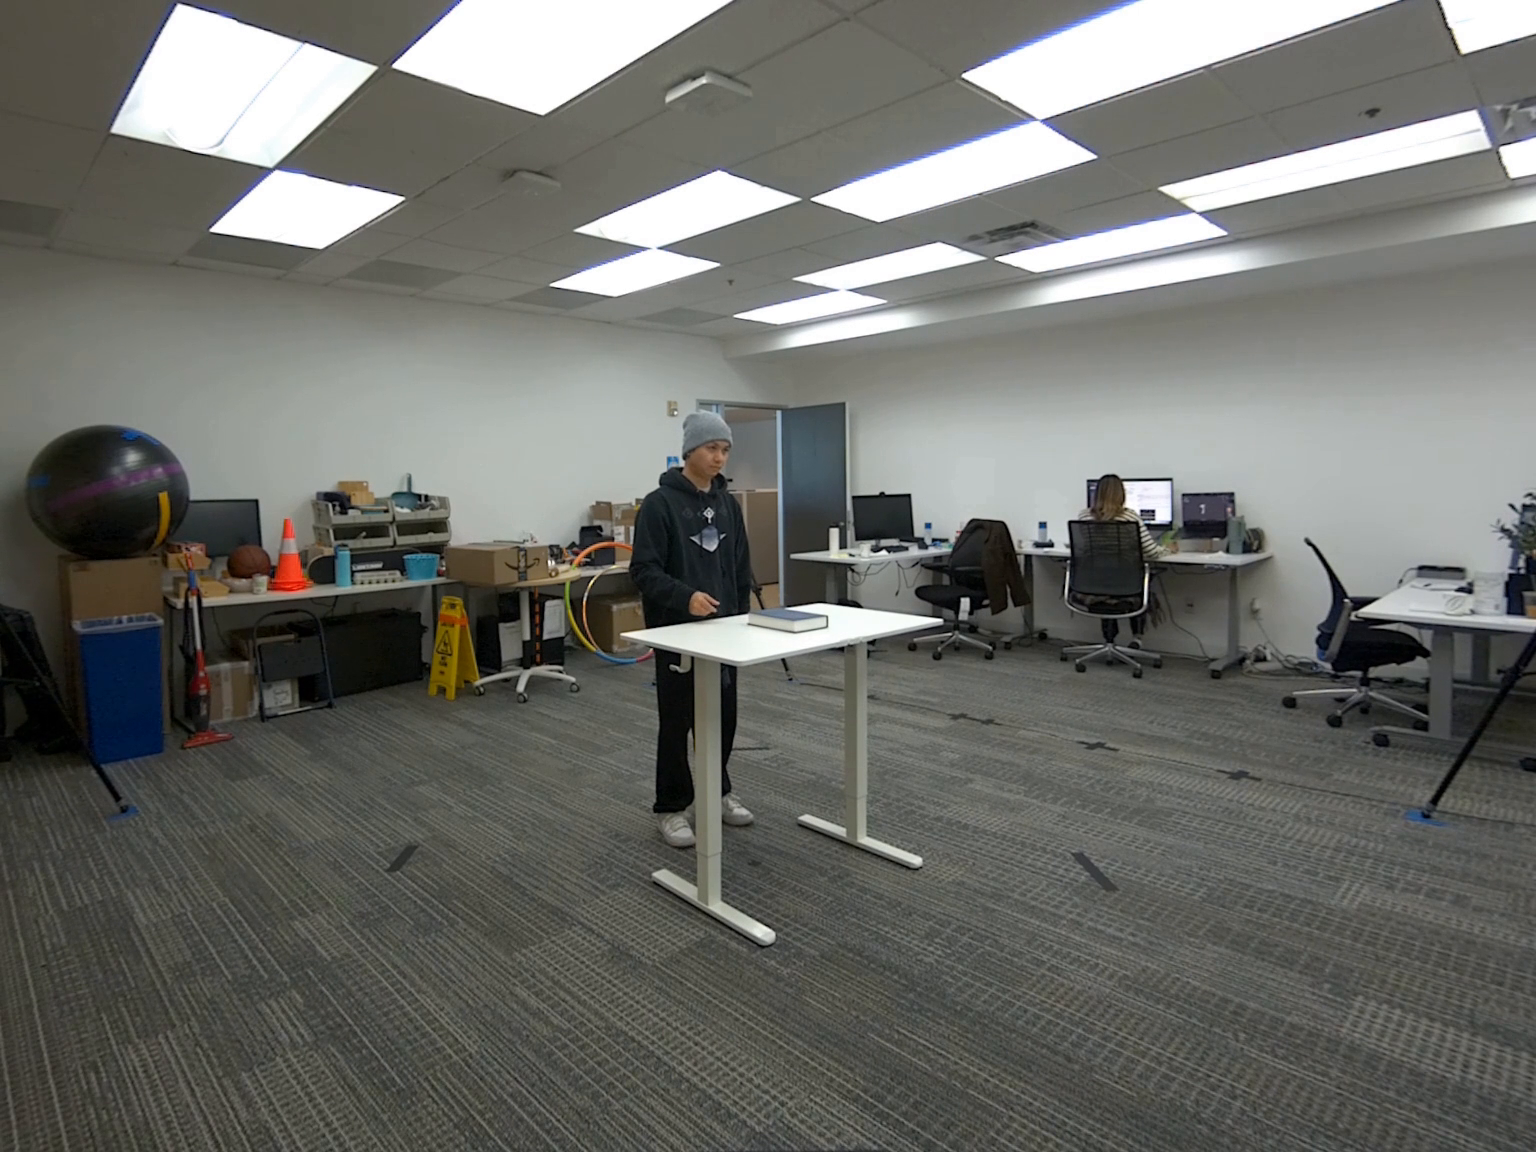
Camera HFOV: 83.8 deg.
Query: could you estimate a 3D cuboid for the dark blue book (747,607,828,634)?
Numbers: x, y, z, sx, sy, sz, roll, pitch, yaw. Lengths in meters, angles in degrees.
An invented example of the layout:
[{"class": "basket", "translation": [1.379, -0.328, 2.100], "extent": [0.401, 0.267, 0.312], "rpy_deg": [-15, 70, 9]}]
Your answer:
[{"class": "dark blue book", "translation": [0.078, 0.157, 2.968], "extent": [0.159, 0.045, 0.253], "rpy_deg": [-5, 8, -40]}]
